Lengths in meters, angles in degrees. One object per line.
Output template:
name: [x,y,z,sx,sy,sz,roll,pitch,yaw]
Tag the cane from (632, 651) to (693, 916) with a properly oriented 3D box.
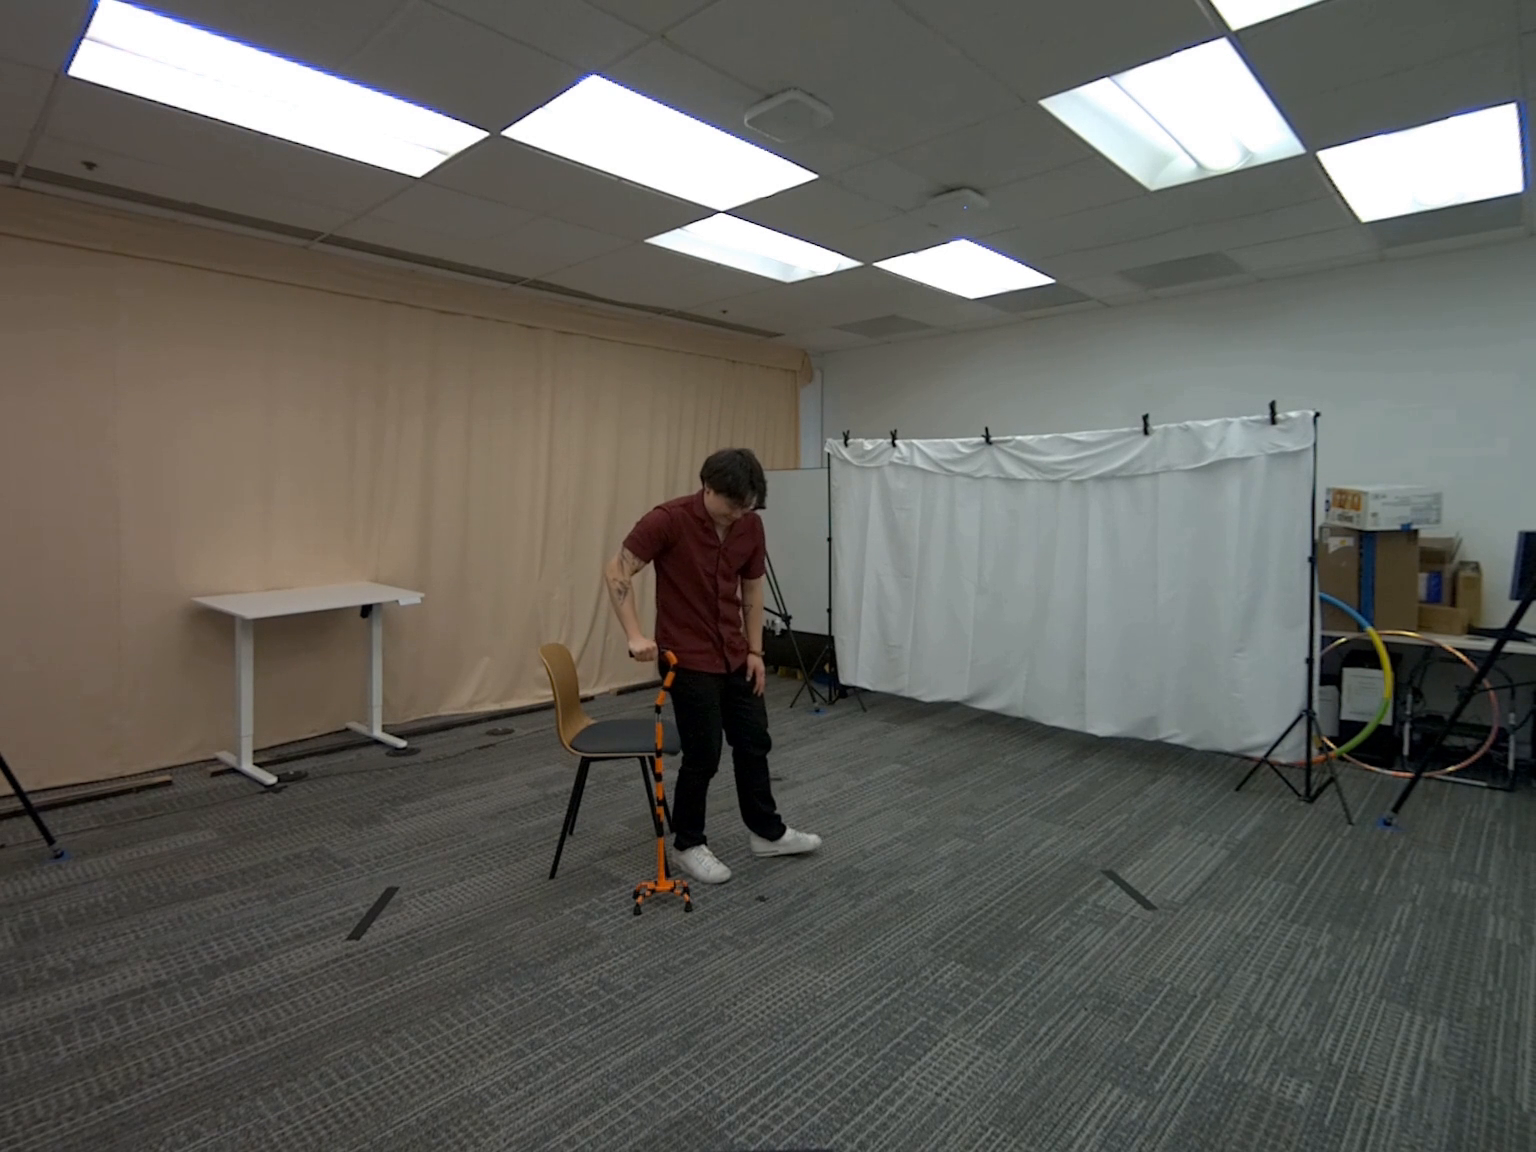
cane: [-0.372,0.700,2.923,0.205,0.906,0.153,-1,4,-7]
